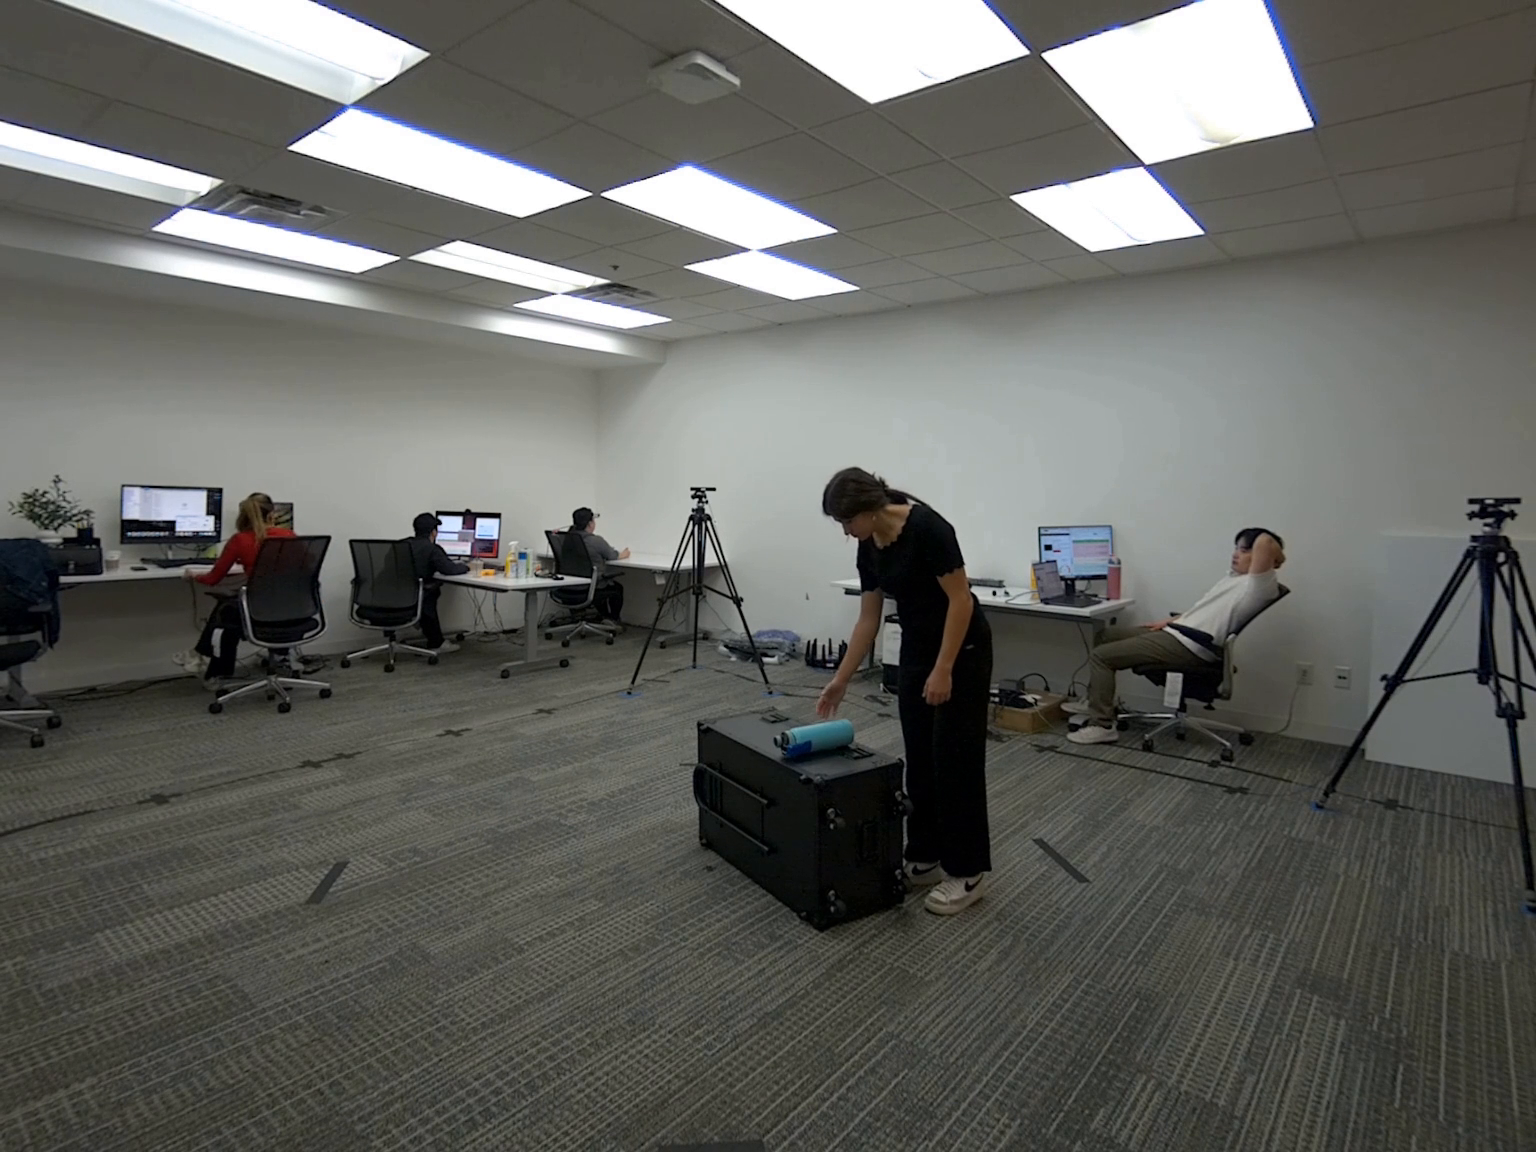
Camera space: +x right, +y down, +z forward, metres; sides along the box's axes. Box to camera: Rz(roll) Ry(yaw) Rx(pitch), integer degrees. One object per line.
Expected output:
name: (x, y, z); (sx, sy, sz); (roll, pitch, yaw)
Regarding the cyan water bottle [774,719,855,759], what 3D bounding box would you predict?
cyan water bottle: (0.148, 0.556, 2.936); (0.277, 0.092, 0.095); (-4, 6, -24)
